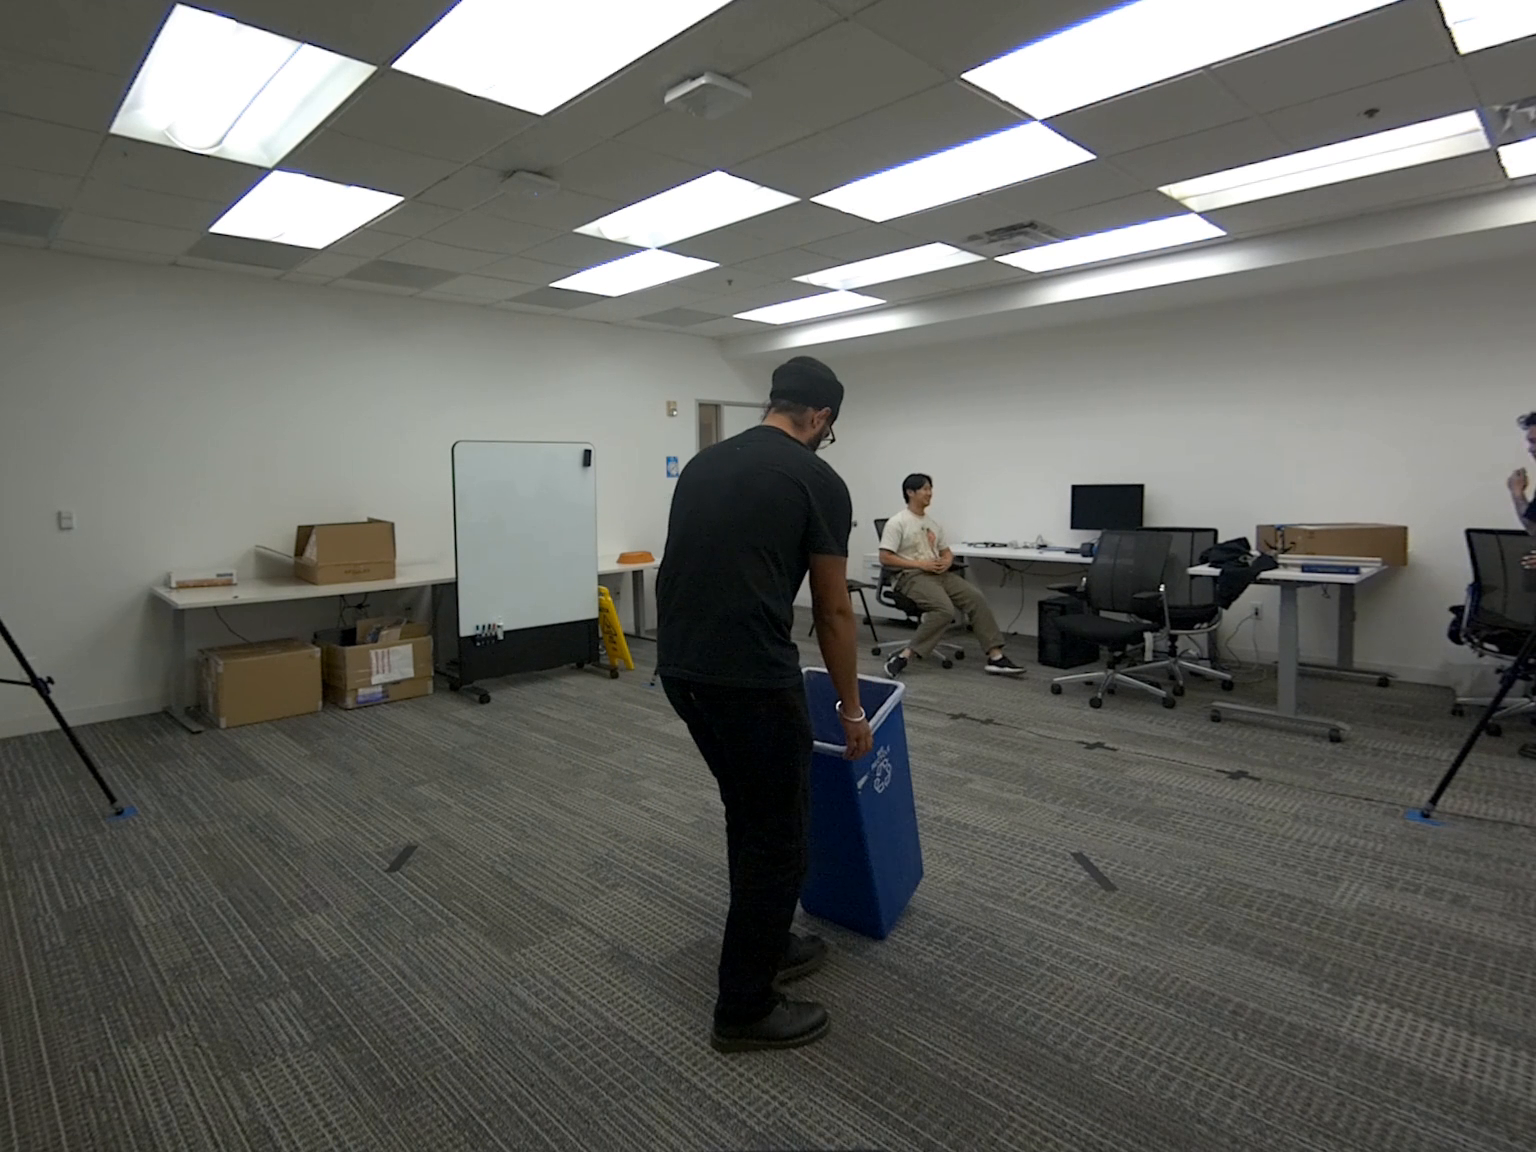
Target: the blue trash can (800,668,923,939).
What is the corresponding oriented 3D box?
[{"bbox_3d":[0.242,0.709,2.638,0.389,0.699,0.371,3,25,37],"label":"blue trash can"}]
